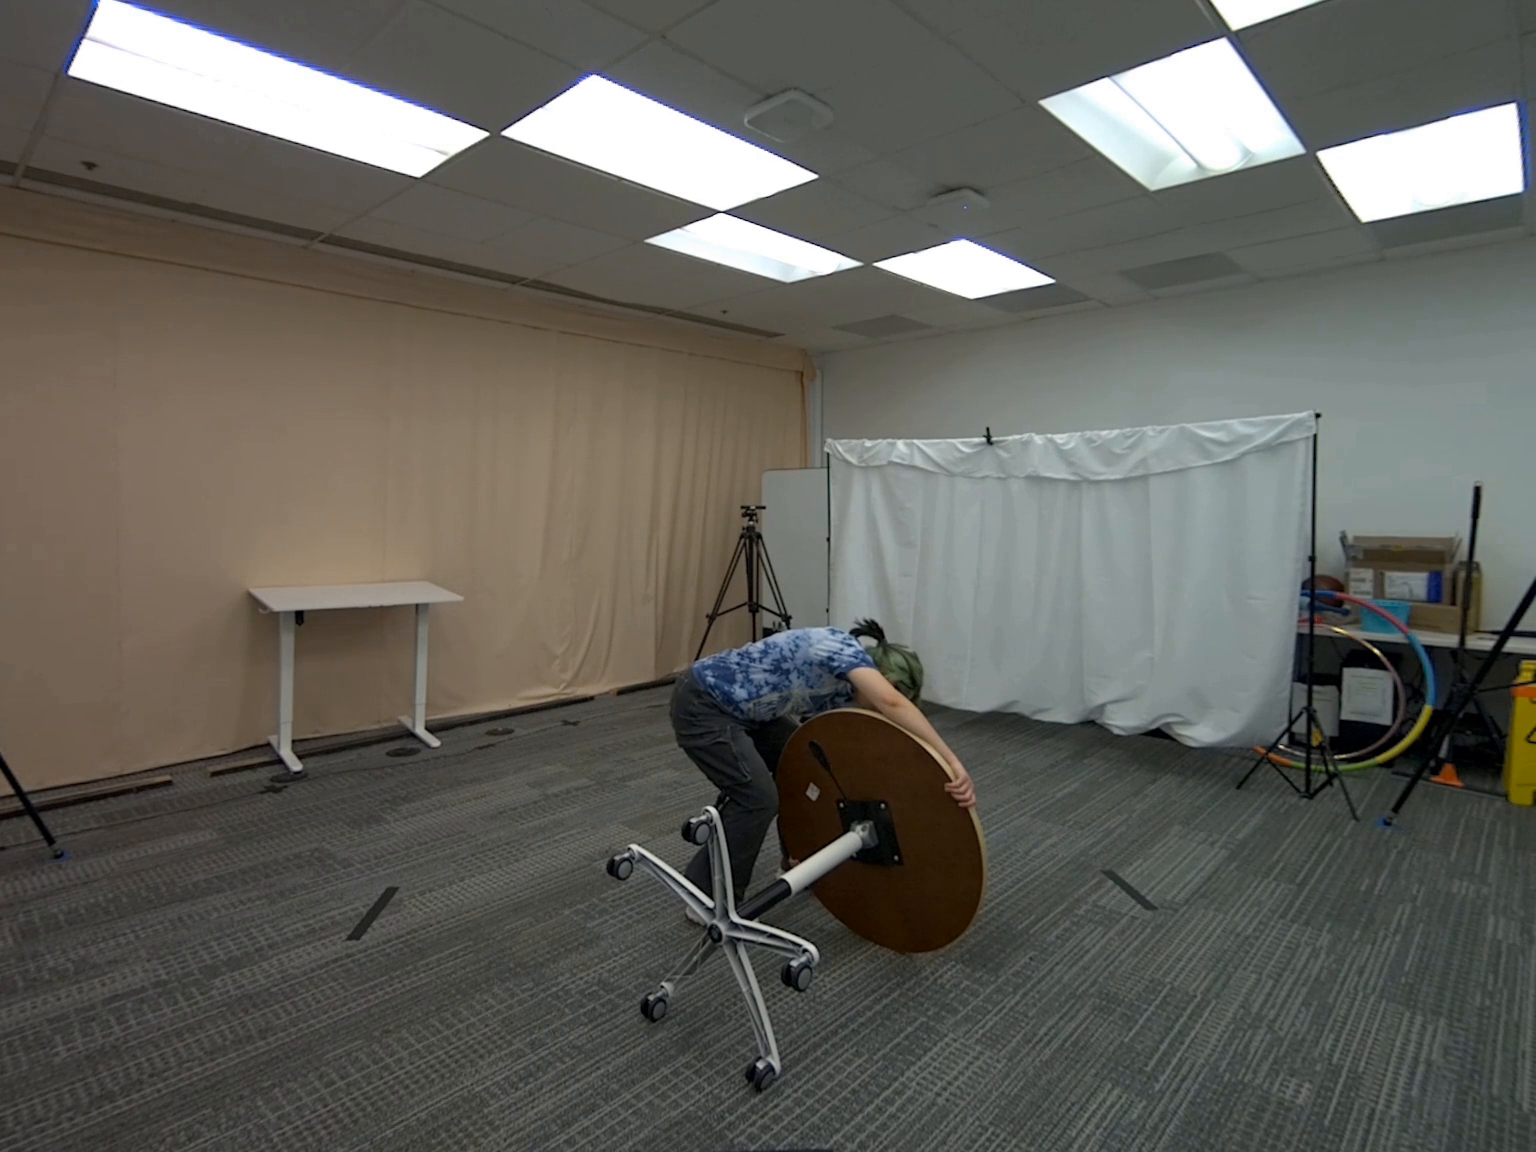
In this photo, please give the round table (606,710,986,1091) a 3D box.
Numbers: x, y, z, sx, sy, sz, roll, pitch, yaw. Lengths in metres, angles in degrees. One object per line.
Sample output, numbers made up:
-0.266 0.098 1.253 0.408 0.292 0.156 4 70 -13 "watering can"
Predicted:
0.077 0.855 2.363 0.789 0.759 0.772 4 12 43 "round table"
